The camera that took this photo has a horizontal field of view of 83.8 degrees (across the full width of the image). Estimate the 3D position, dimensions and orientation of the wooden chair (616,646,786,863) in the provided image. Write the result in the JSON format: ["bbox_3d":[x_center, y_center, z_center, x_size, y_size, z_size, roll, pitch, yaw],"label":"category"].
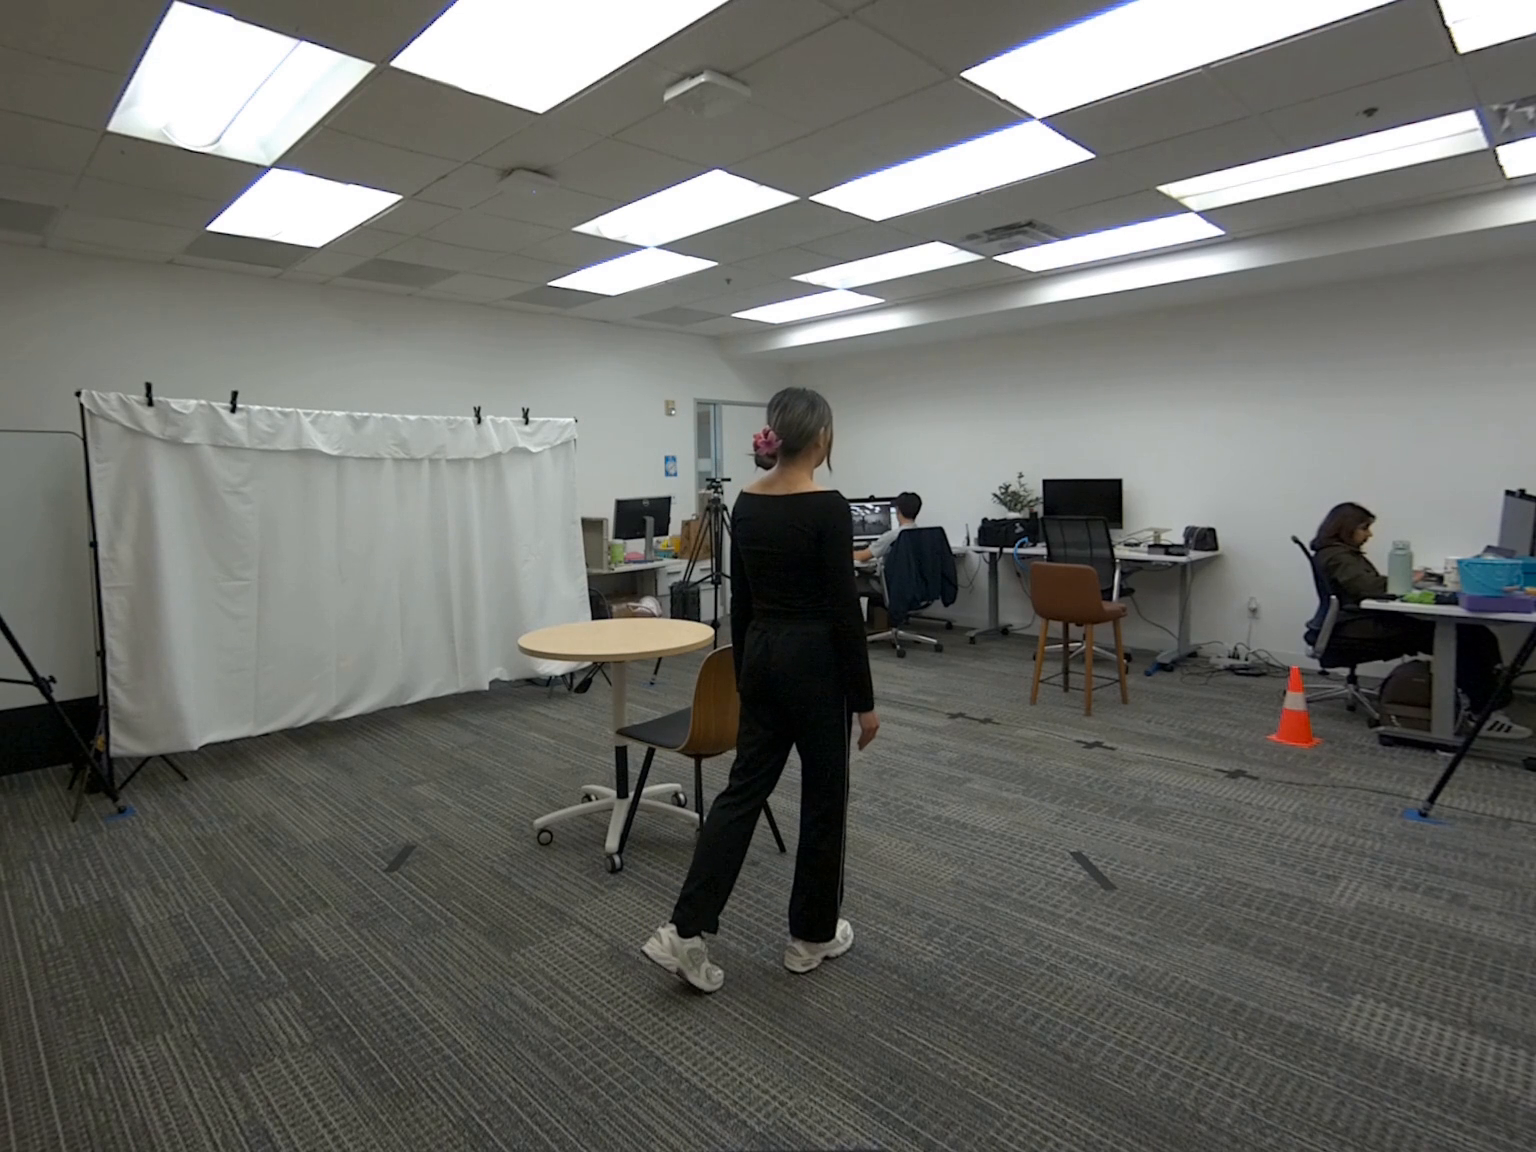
[{"bbox_3d":[-0.262,0.613,3.139,0.540,0.872,0.466,8,10,40],"label":"wooden chair"}]
